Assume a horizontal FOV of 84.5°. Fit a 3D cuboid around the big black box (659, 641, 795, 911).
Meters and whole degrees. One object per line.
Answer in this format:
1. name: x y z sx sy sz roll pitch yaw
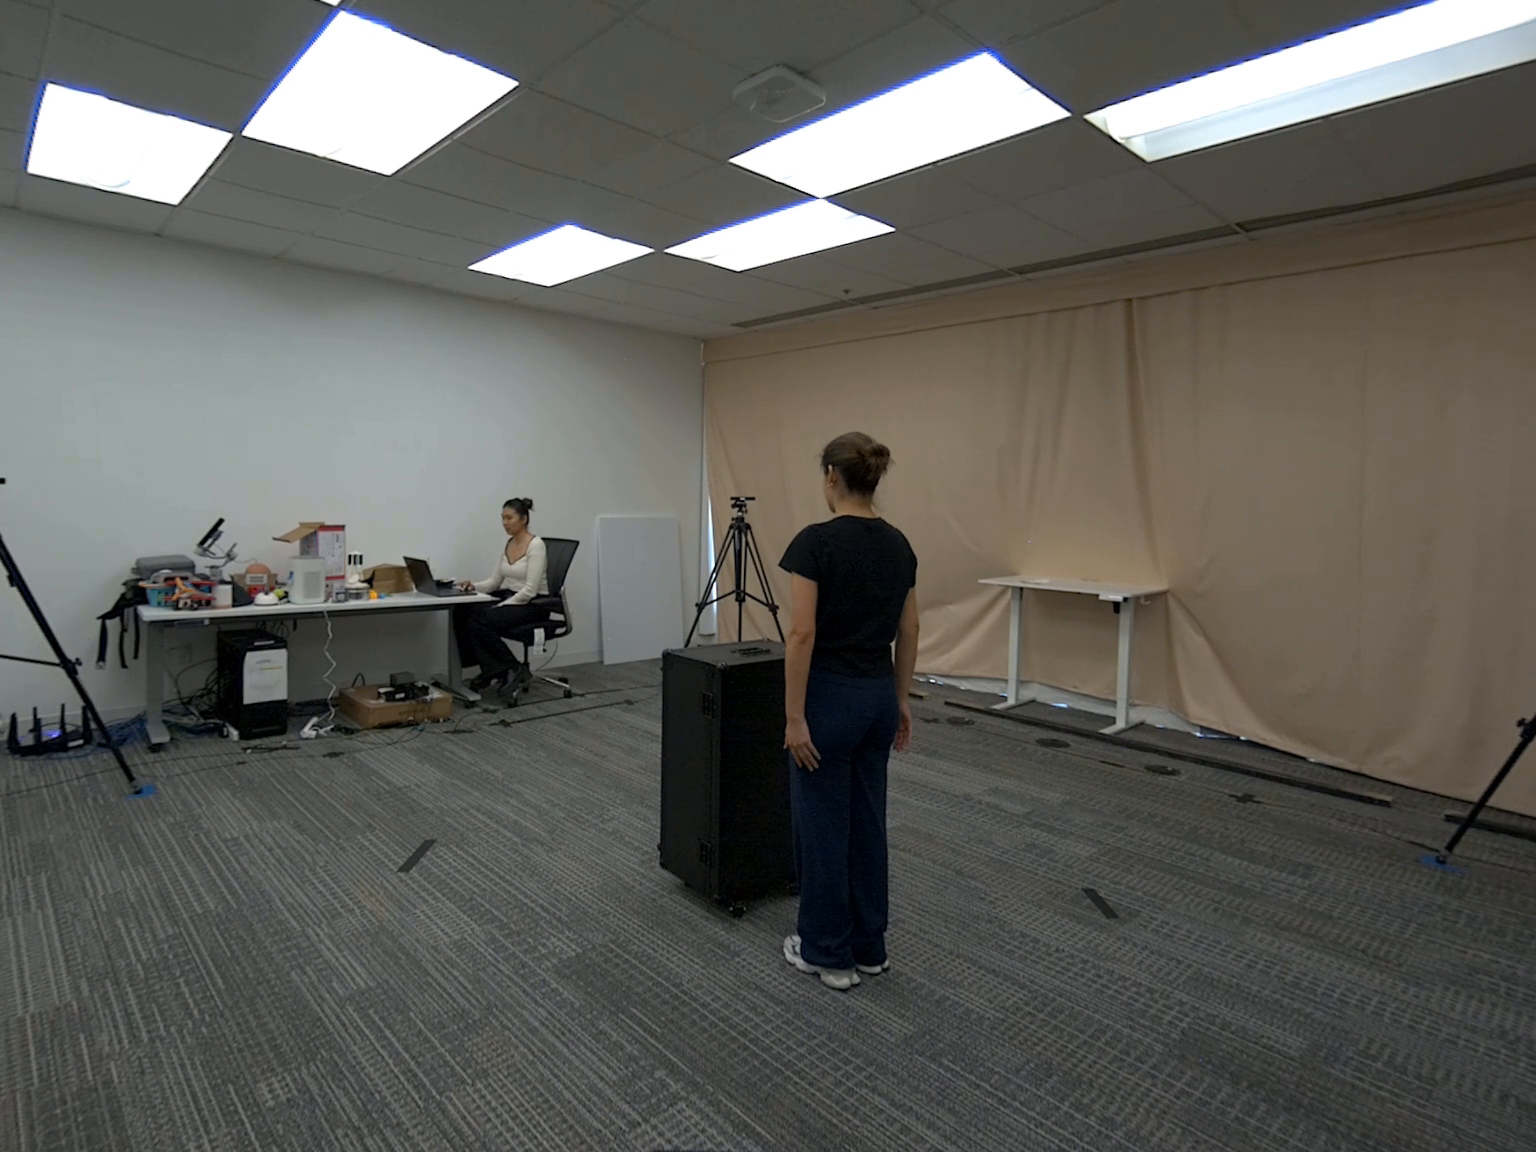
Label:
1. big black box: -0.099 0.695 2.994 0.509 0.860 0.406 -2 3 -39
